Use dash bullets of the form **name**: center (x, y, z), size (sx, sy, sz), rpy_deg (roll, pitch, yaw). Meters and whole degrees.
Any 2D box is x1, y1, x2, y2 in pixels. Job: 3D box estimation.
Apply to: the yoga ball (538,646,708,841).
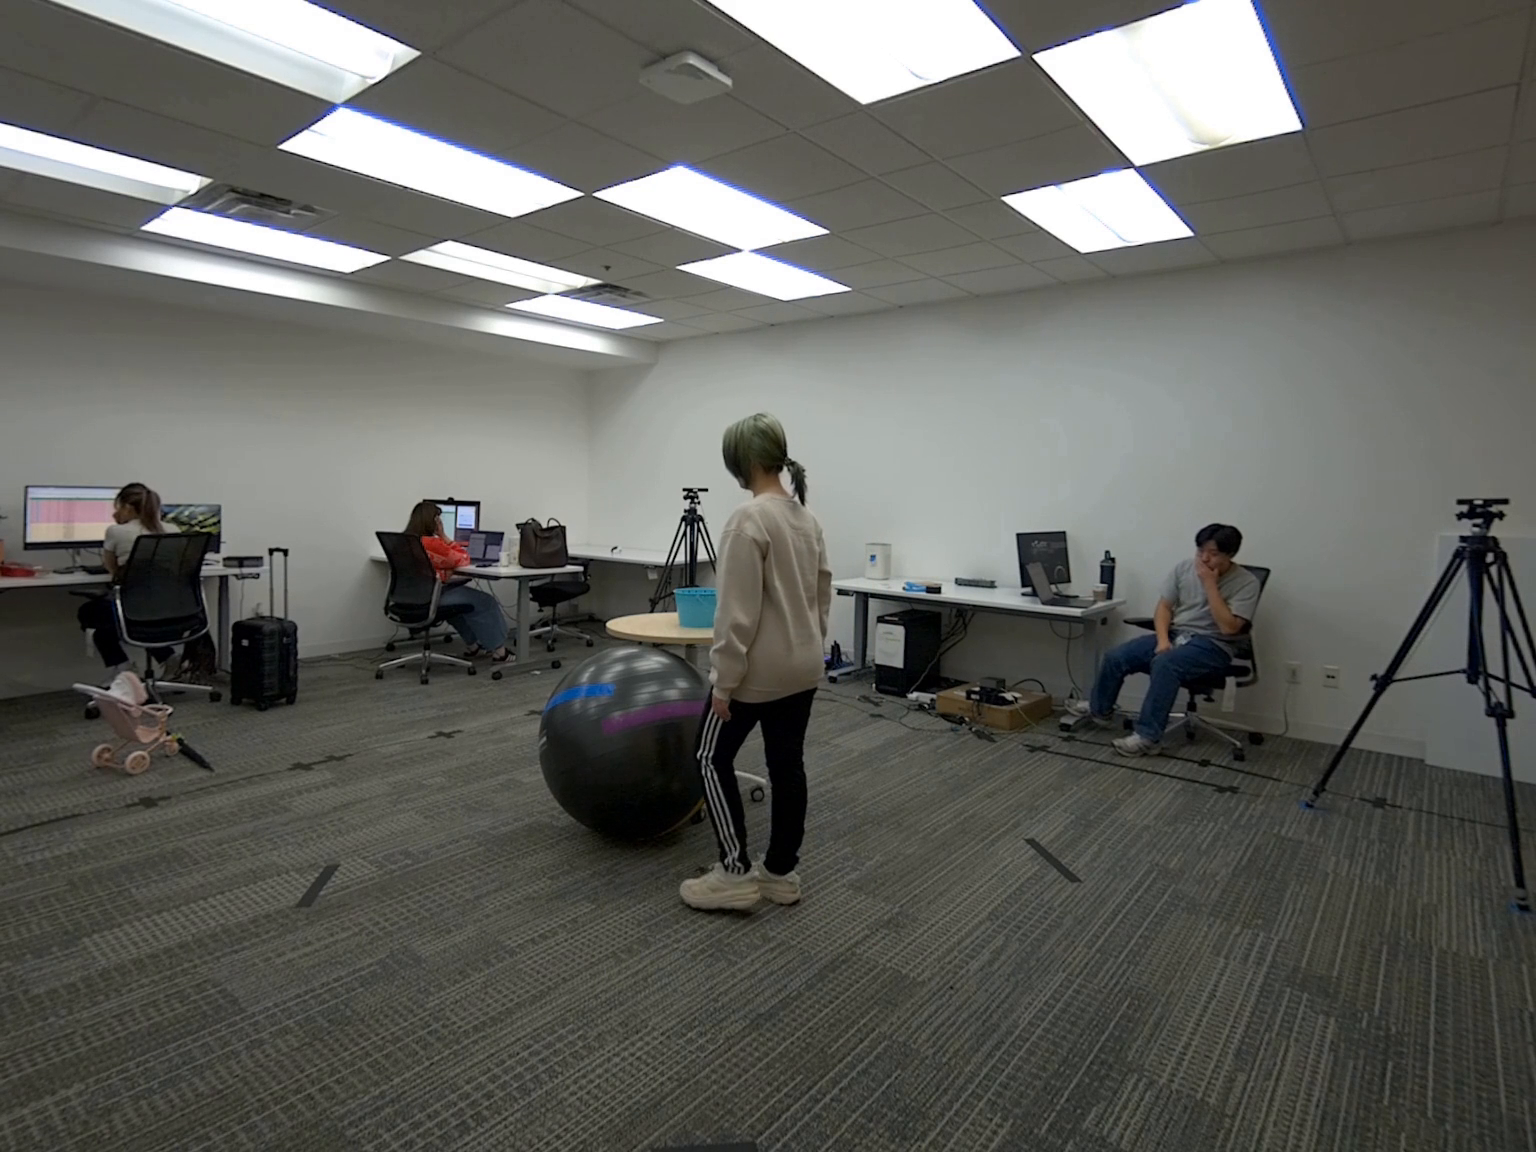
- **yoga ball**: center (-0.568, 0.667, 3.449), size (0.757, 0.756, 0.762), rpy_deg (1, 4, -2)
